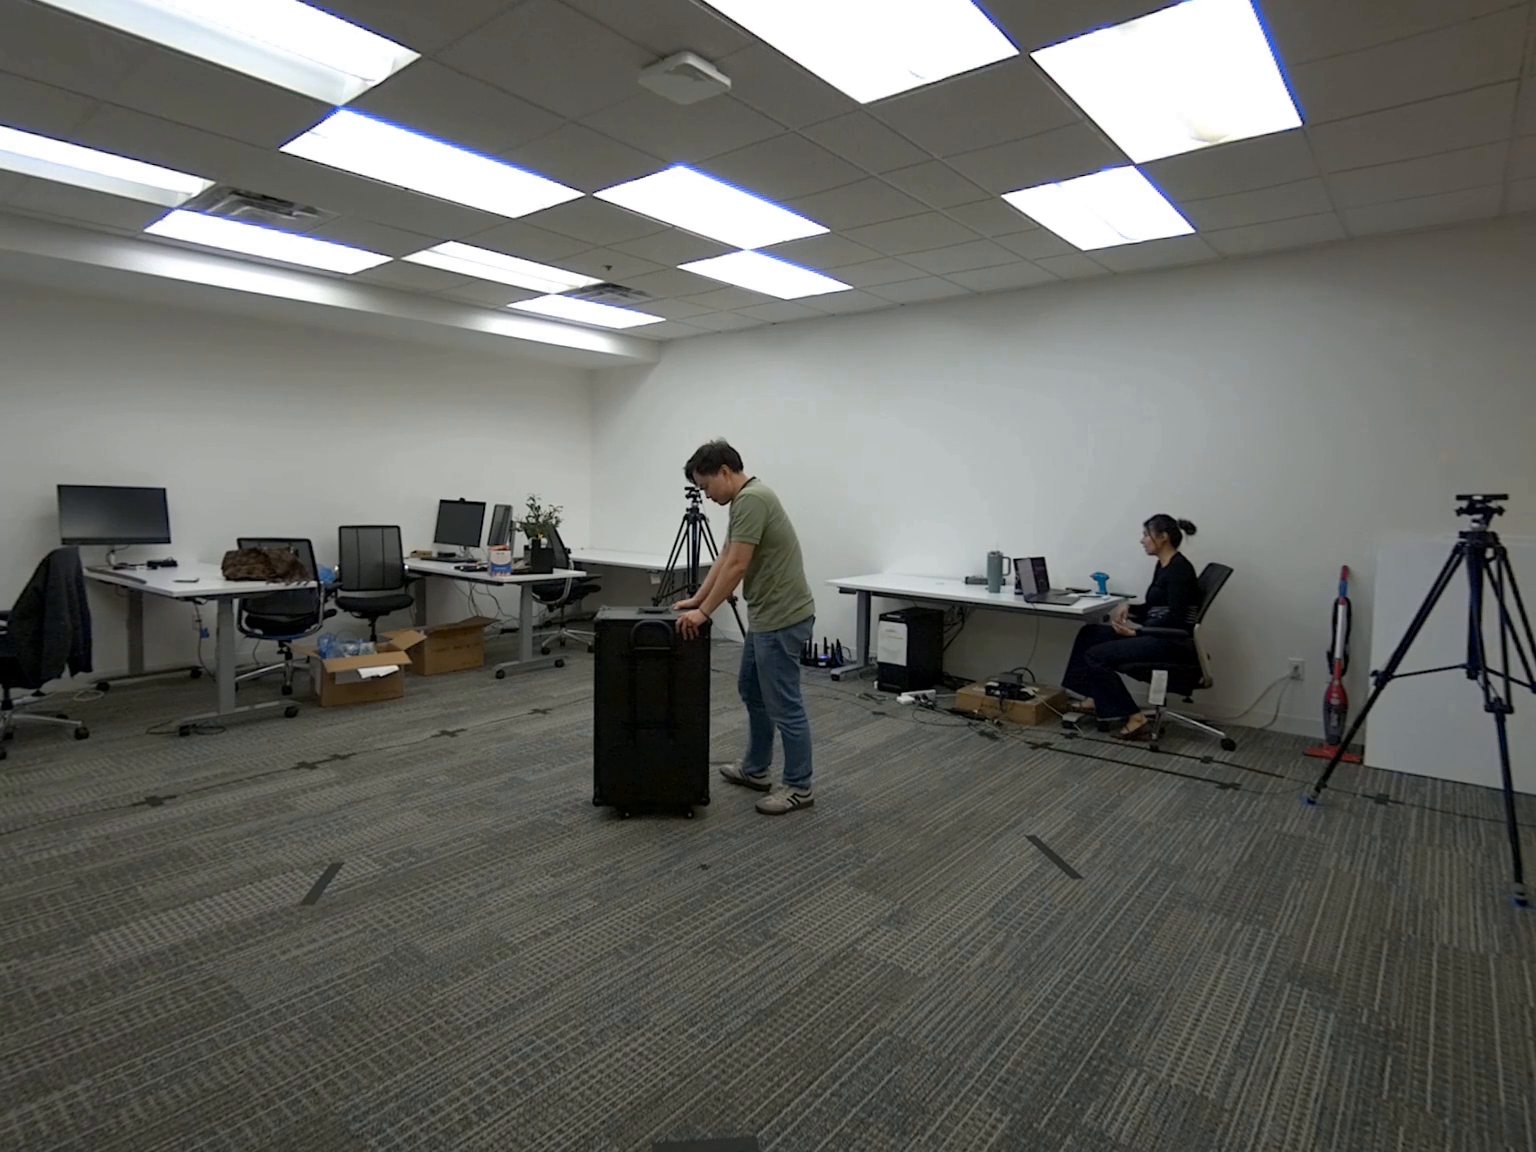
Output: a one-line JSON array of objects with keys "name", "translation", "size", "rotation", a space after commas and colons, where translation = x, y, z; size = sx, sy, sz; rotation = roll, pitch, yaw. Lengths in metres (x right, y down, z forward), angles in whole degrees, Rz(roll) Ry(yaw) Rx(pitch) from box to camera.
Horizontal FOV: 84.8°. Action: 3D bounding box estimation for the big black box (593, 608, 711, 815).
[{"name": "big black box", "translation": [-0.506, 0.591, 3.672], "size": [0.519, 0.858, 0.400], "rotation": [1, 5, -5]}]
